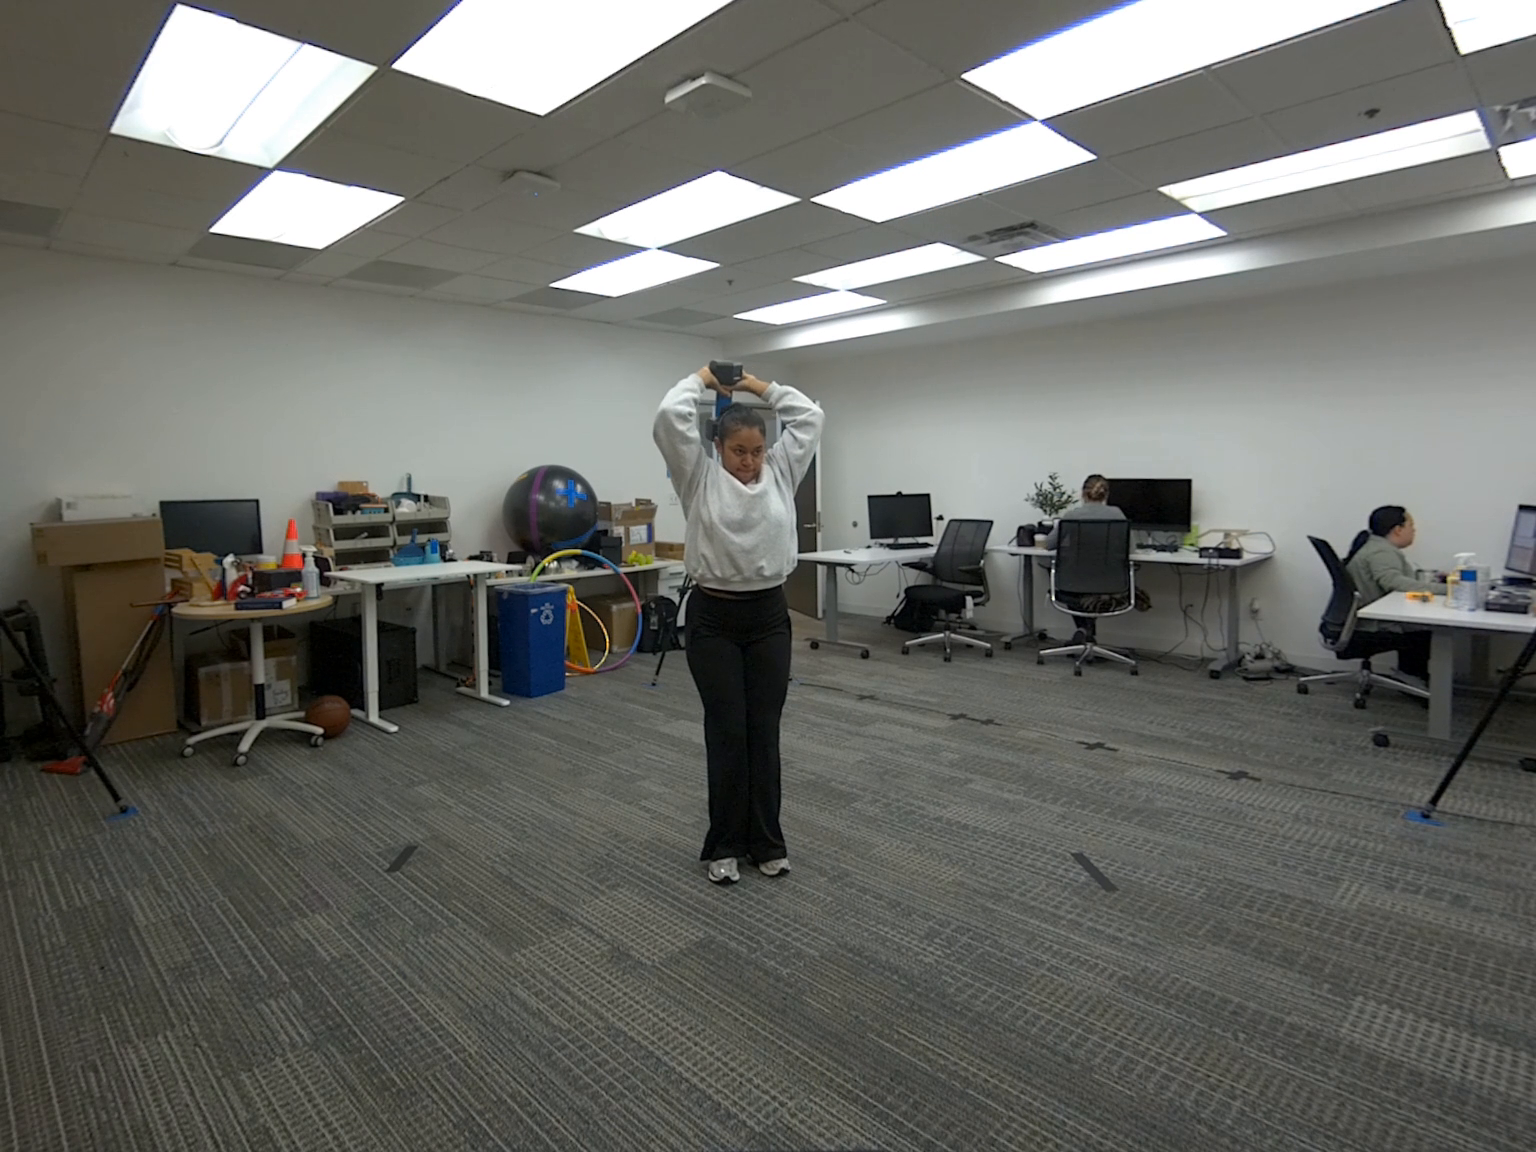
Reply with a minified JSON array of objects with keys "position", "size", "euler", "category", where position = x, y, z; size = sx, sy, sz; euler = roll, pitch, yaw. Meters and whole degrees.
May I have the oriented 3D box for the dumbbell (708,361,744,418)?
[{"position":[-0.152,-0.644,3.117],"size":[0.112,0.289,0.121],"euler":[17,22,28],"category":"dumbbell"}]
